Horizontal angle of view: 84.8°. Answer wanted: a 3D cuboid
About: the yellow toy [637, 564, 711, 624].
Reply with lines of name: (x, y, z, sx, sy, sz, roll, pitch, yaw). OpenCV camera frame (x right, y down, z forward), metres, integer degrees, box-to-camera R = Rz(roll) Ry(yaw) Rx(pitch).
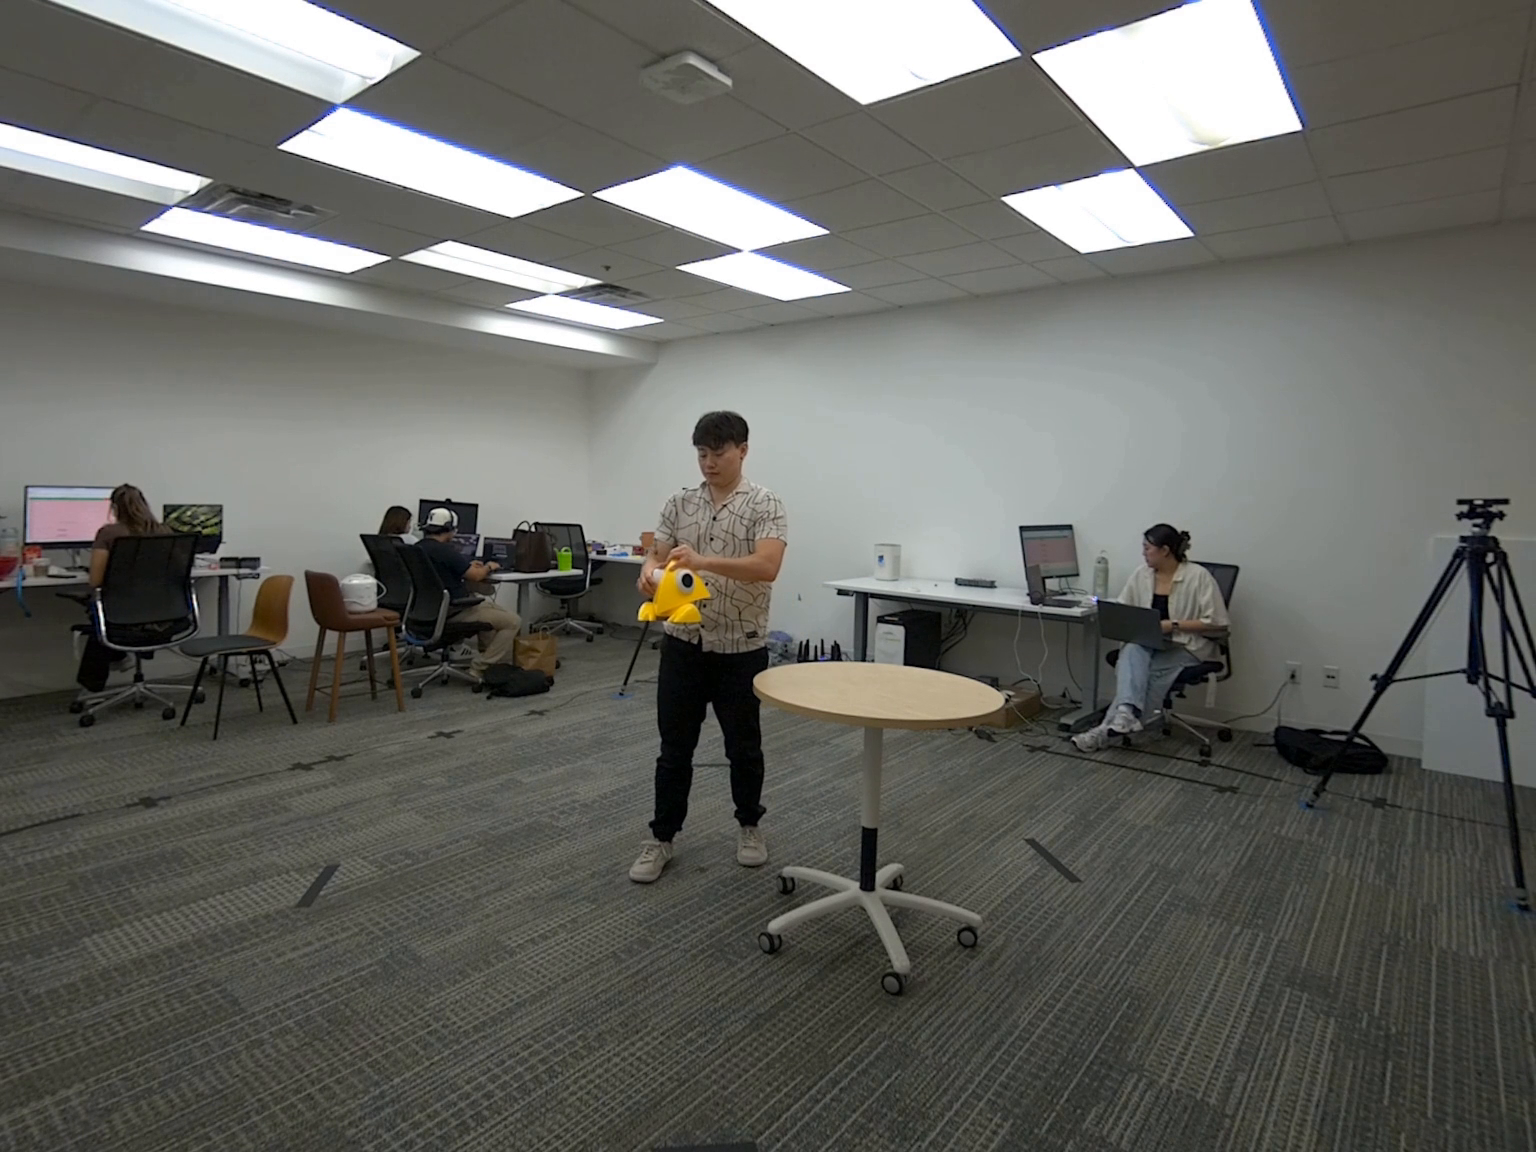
yellow toy: (-0.337, 0.030, 2.783, 0.210, 0.231, 0.188, 0, -1, 23)
